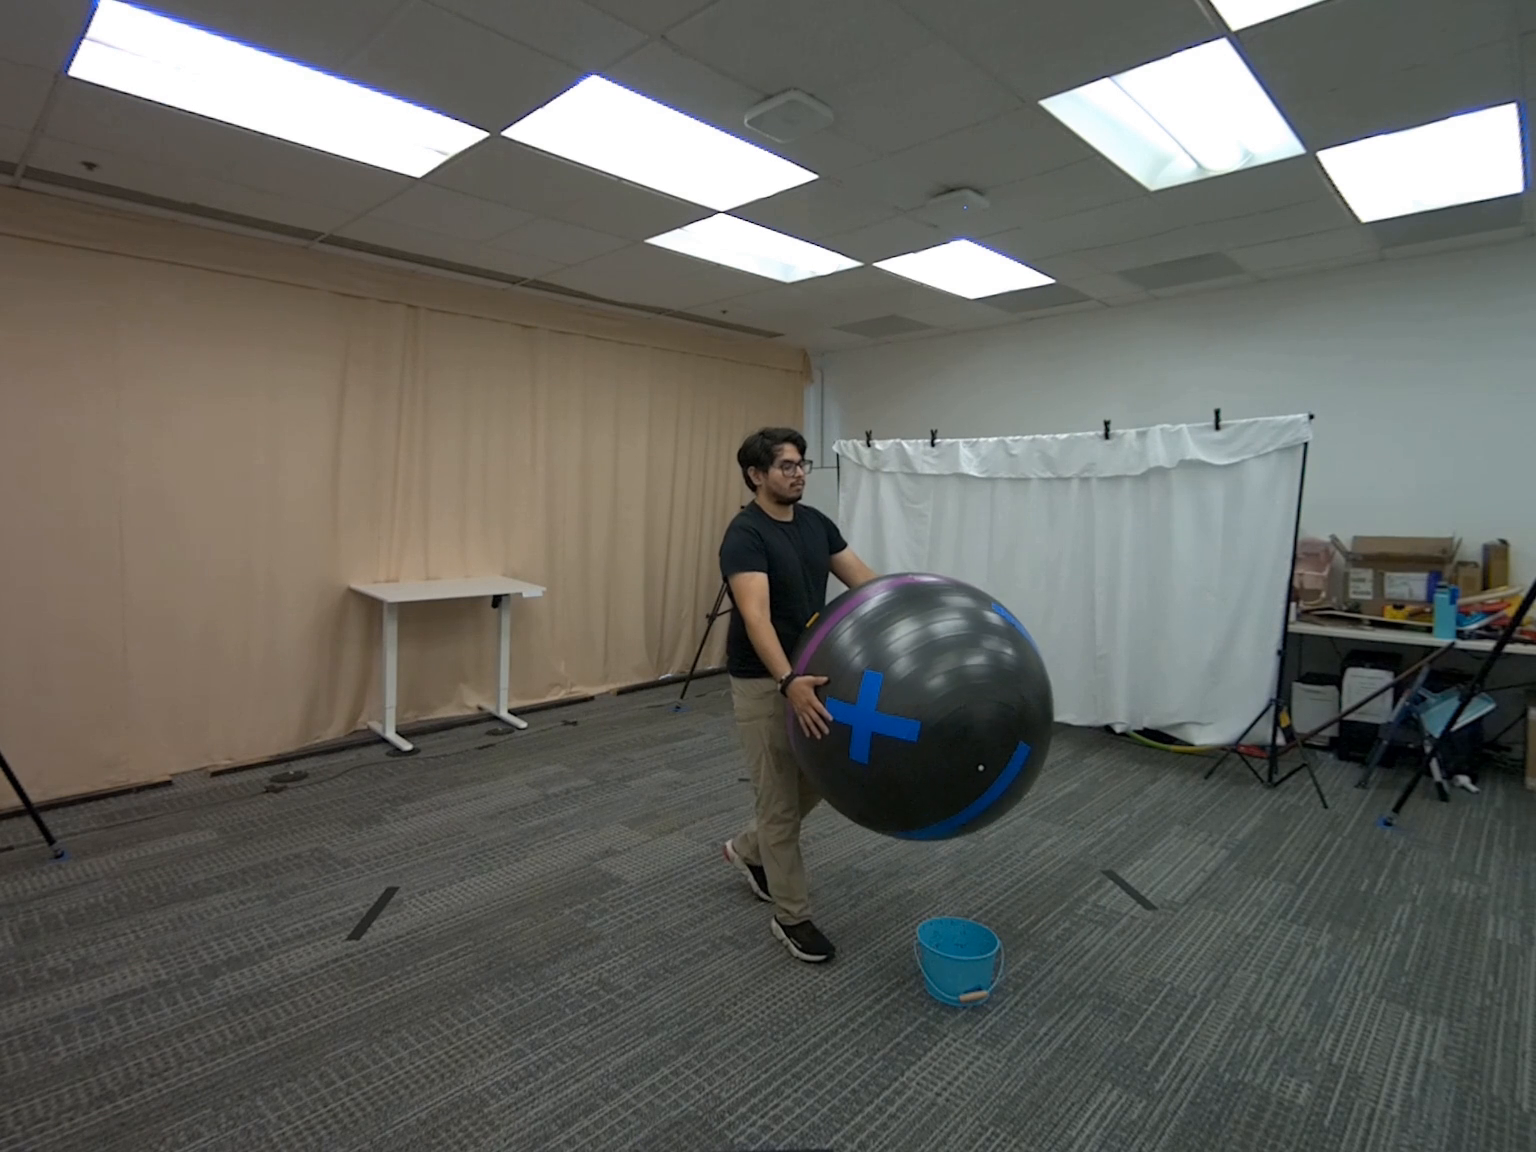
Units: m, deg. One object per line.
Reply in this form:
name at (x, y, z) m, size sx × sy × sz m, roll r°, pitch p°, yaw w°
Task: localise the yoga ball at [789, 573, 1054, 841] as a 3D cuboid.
yoga ball at (0.434, 0.377, 2.439) m, size 0.757 × 0.756 × 0.760 m, roll 0°, pitch 4°, yaw -2°
